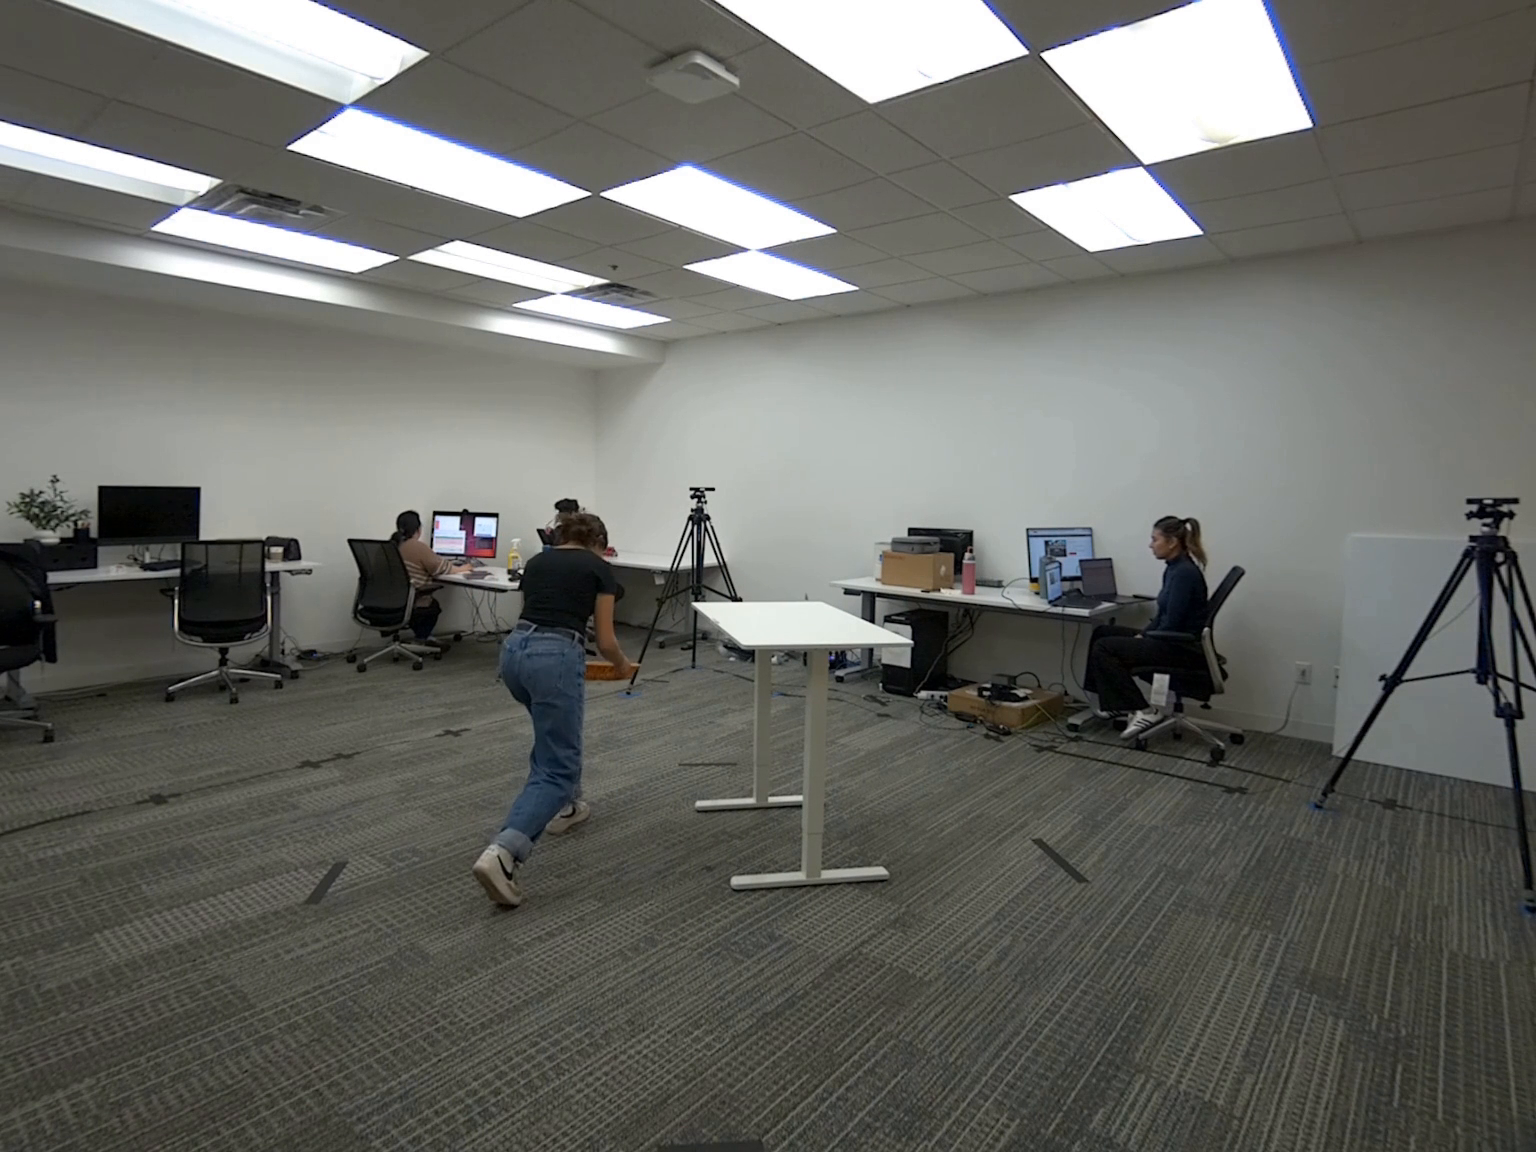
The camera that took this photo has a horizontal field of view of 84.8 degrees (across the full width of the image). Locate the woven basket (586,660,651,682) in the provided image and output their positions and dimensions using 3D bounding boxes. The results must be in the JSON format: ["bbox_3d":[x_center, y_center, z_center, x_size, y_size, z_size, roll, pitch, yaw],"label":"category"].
[{"bbox_3d":[-0.708,0.416,3.724,0.257,0.074,0.342,1,-5,15],"label":"woven basket"}]
